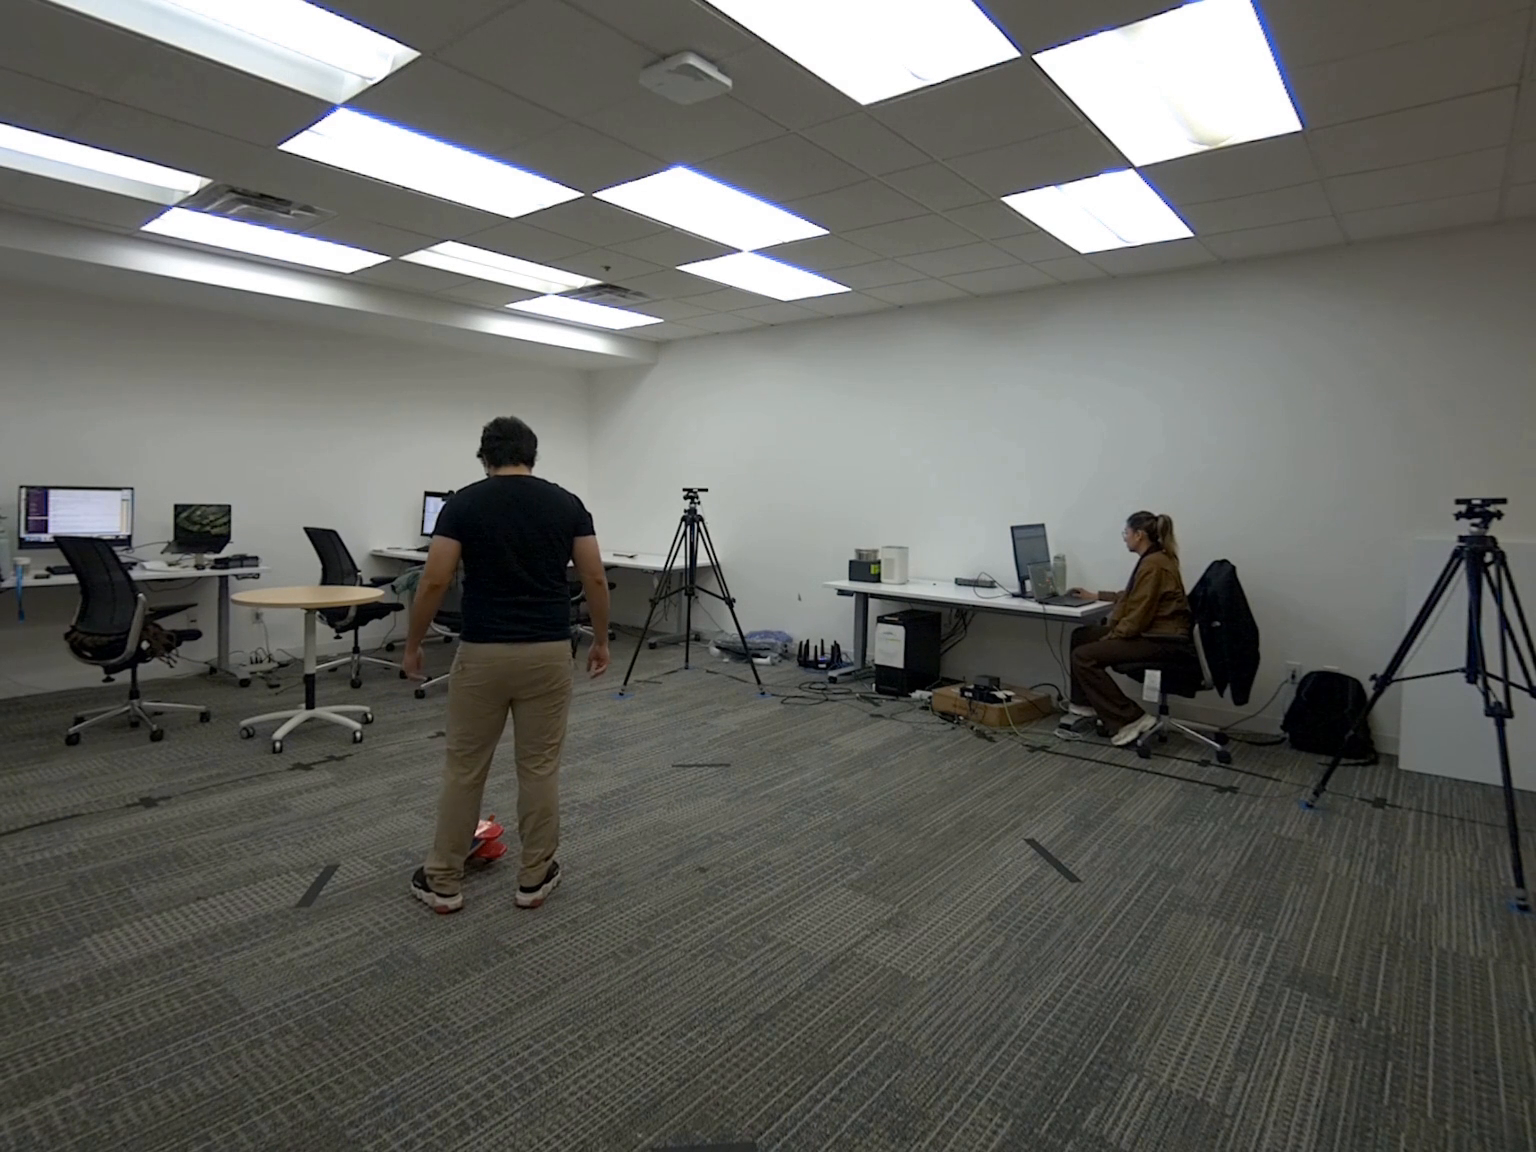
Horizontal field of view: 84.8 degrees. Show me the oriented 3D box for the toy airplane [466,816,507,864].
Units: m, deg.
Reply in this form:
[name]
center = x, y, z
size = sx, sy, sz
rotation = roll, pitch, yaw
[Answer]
[toy airplane]
center = -1.085, 0.990, 3.083
size = 0.249, 0.156, 0.262
rotation = -2, 2, -9
